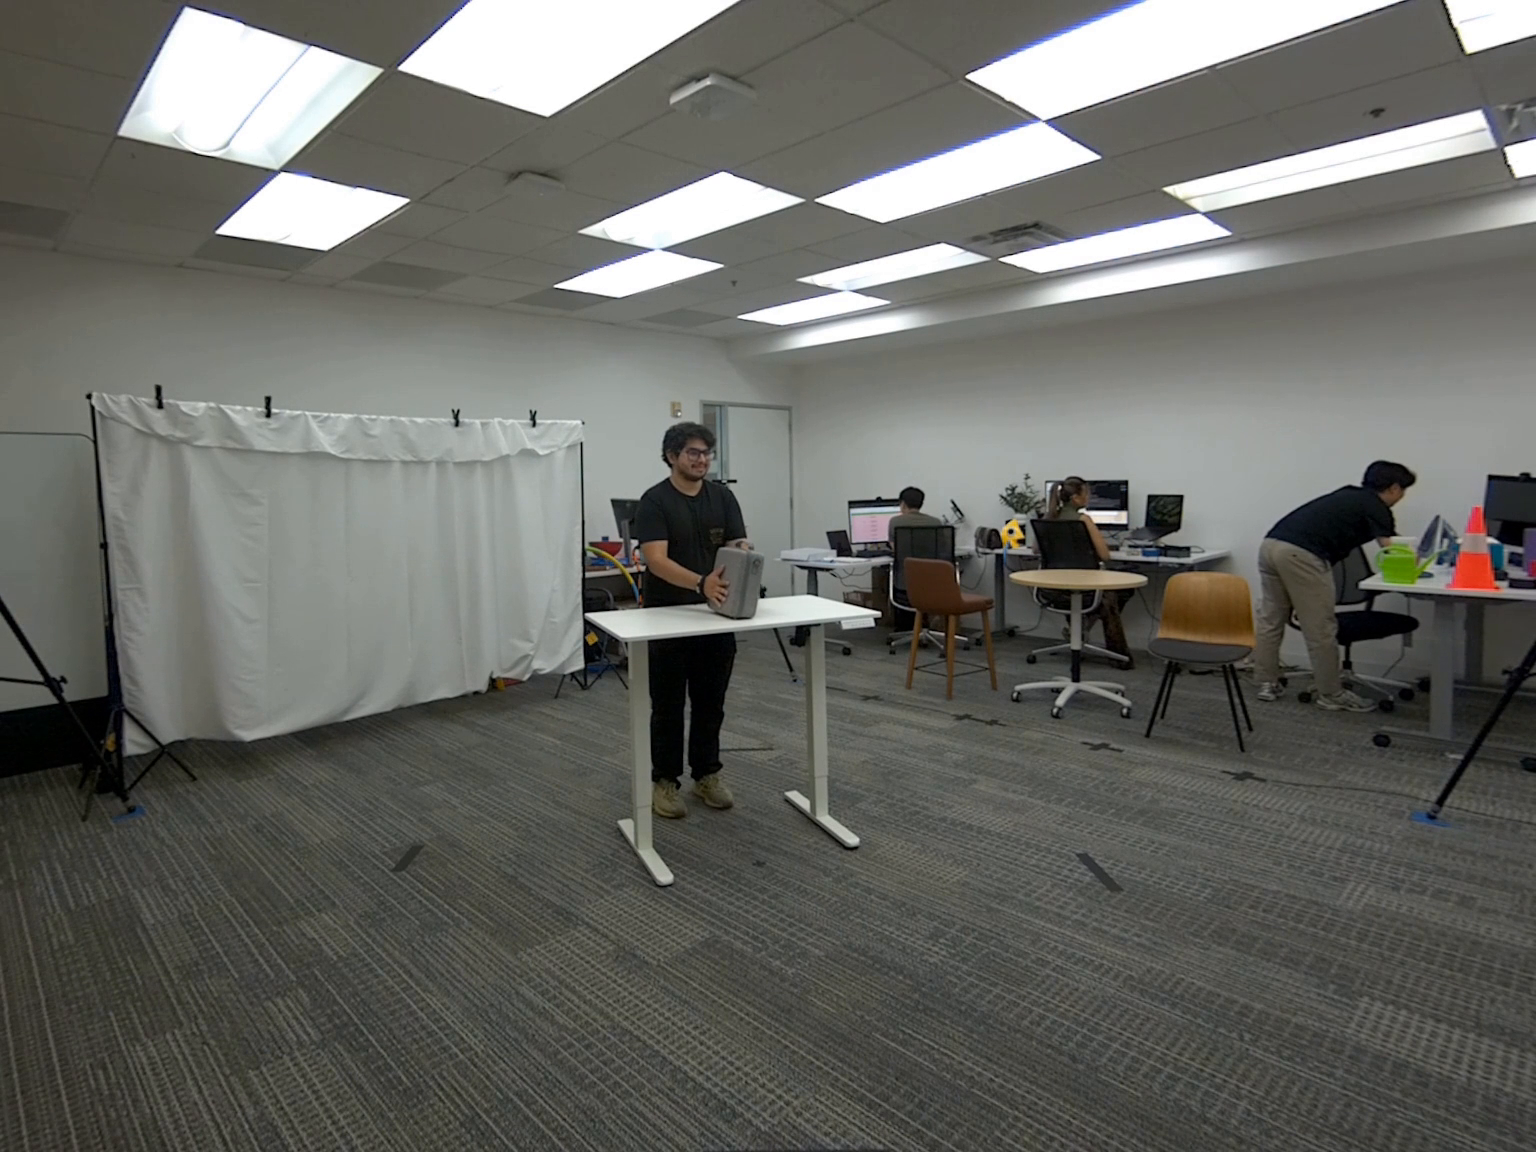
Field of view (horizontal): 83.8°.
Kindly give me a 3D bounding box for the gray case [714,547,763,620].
[{"bbox_3d":[-0.122,0.021,3.244,0.102,0.261,0.262,9,0,-22],"label":"gray case"}]
